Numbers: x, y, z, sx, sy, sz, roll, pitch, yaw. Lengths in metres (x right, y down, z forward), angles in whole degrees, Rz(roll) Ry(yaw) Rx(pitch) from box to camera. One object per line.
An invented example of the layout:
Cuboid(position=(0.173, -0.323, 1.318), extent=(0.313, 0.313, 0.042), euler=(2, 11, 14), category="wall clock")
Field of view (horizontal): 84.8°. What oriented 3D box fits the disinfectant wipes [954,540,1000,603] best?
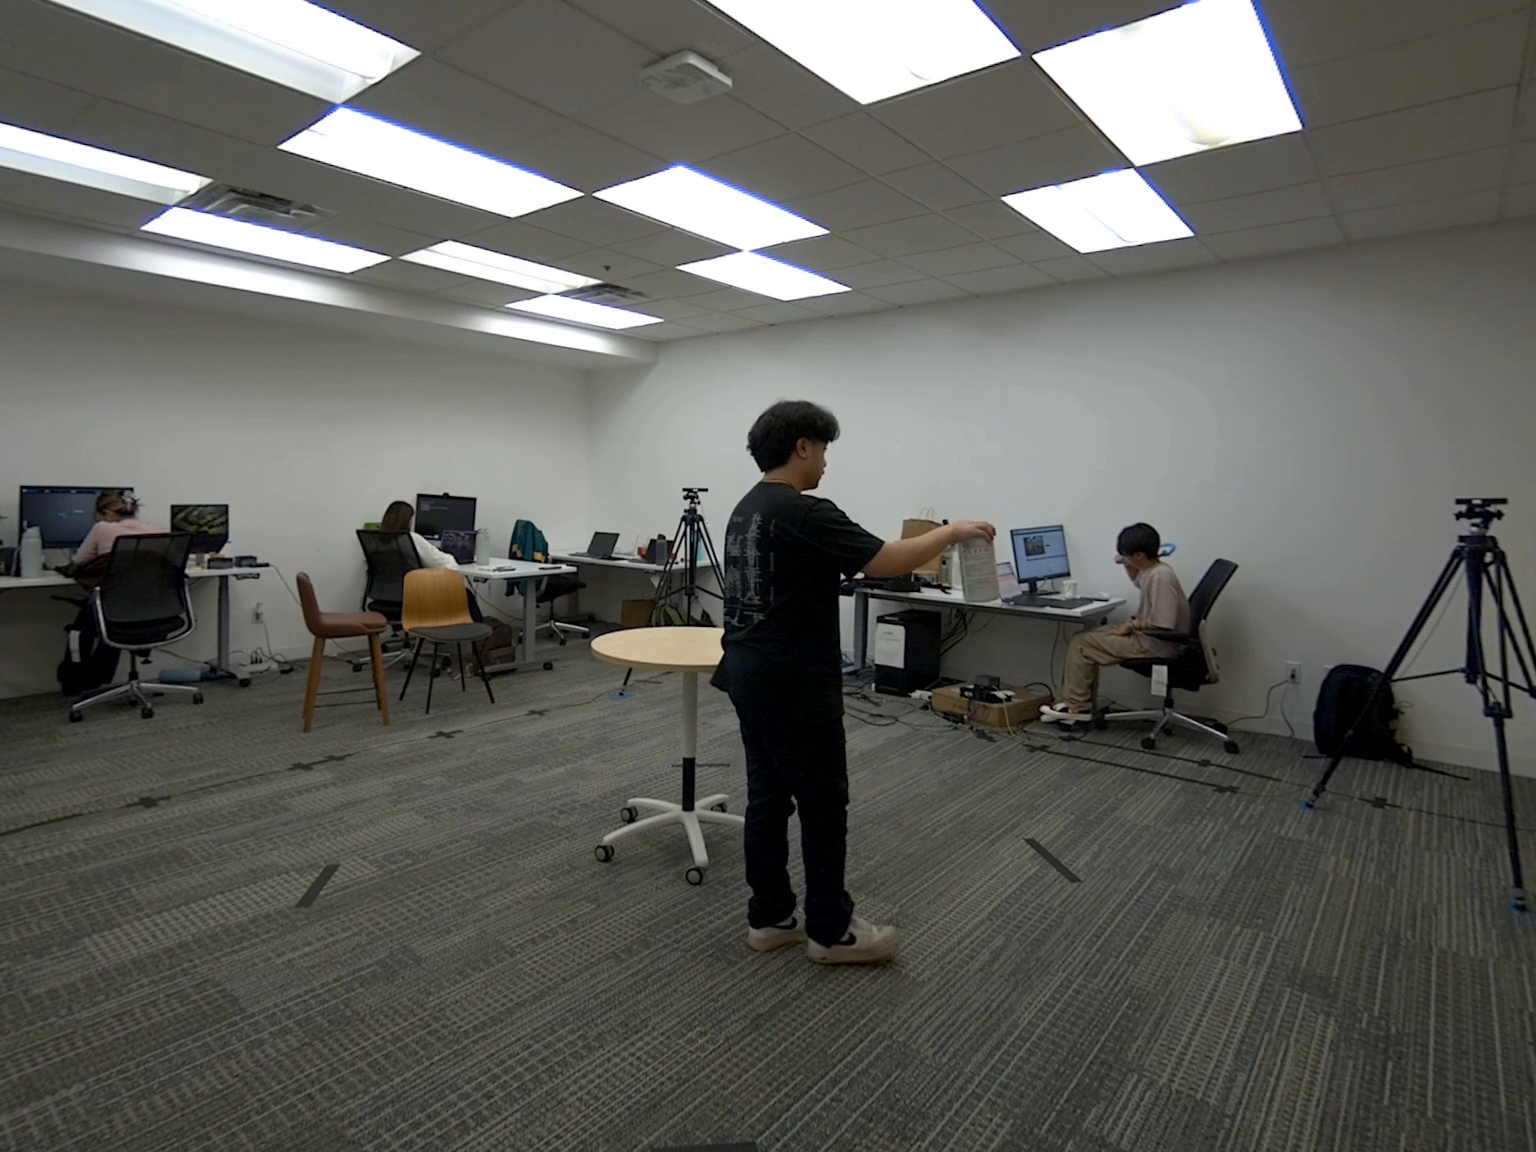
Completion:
Cuboid(position=(0.642, -0.031, 2.607), extent=(0.118, 0.216, 0.118), euler=(-7, 5, -1), category="disinfectant wipes")
